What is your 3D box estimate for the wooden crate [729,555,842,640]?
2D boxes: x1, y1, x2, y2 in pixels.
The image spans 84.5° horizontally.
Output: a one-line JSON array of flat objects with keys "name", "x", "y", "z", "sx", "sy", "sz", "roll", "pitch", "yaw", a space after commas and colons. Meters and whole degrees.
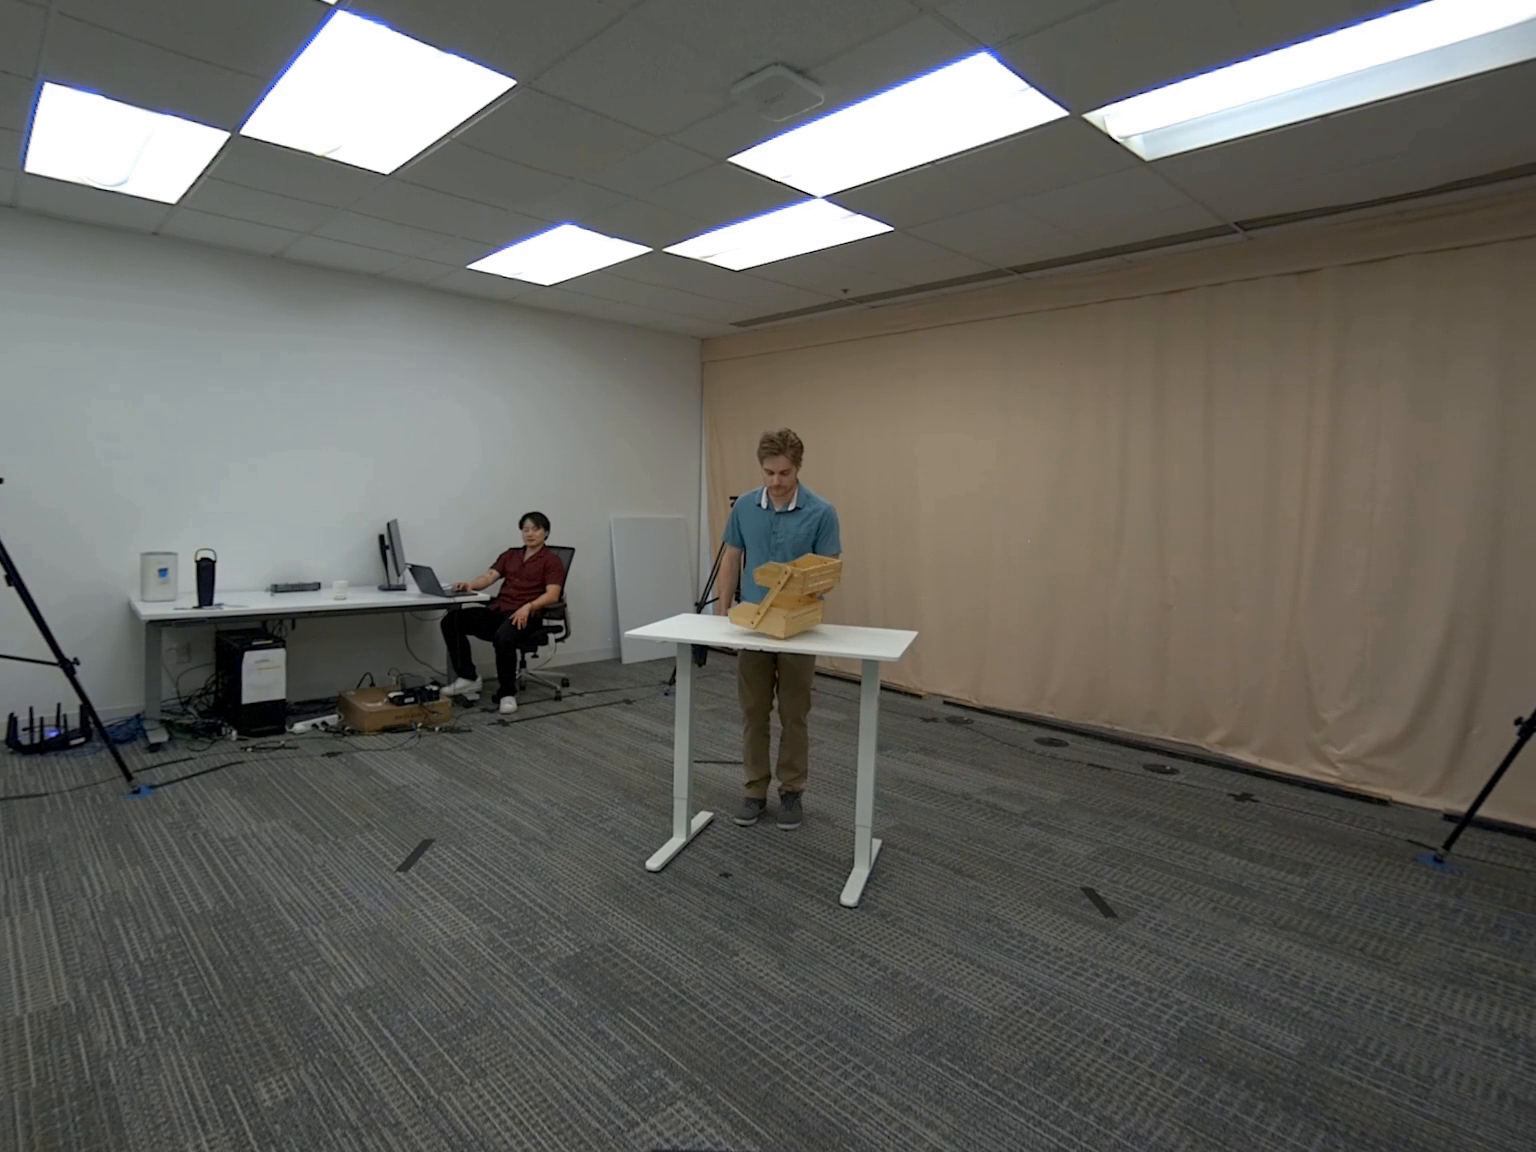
[{"name": "wooden crate", "x": 0.044, "y": 0.053, "z": 3.162, "sx": 0.309, "sy": 0.271, "sz": 0.319, "roll": 12, "pitch": 12, "yaw": 31}]
